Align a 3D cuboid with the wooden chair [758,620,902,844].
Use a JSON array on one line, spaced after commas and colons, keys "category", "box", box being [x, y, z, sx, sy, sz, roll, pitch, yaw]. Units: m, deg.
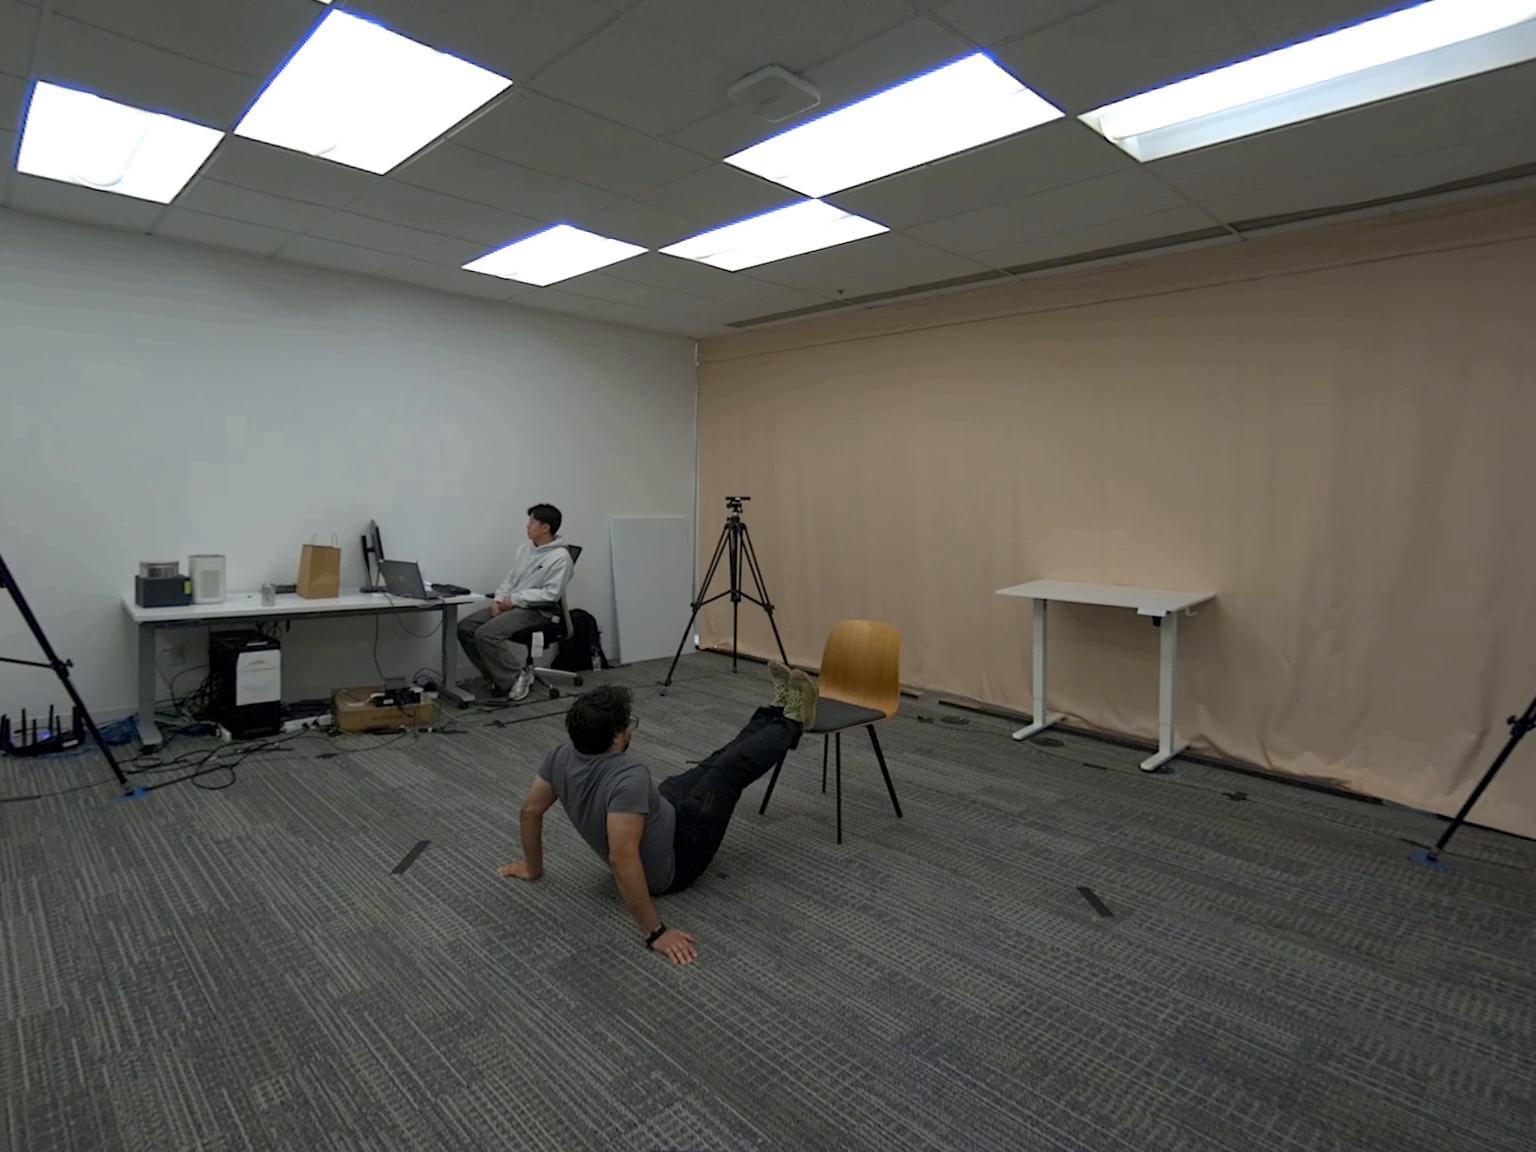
[{"category": "wooden chair", "box": [0.276, 0.639, 3.699, 0.490, 0.877, 0.510, 4, 0, 44]}]
